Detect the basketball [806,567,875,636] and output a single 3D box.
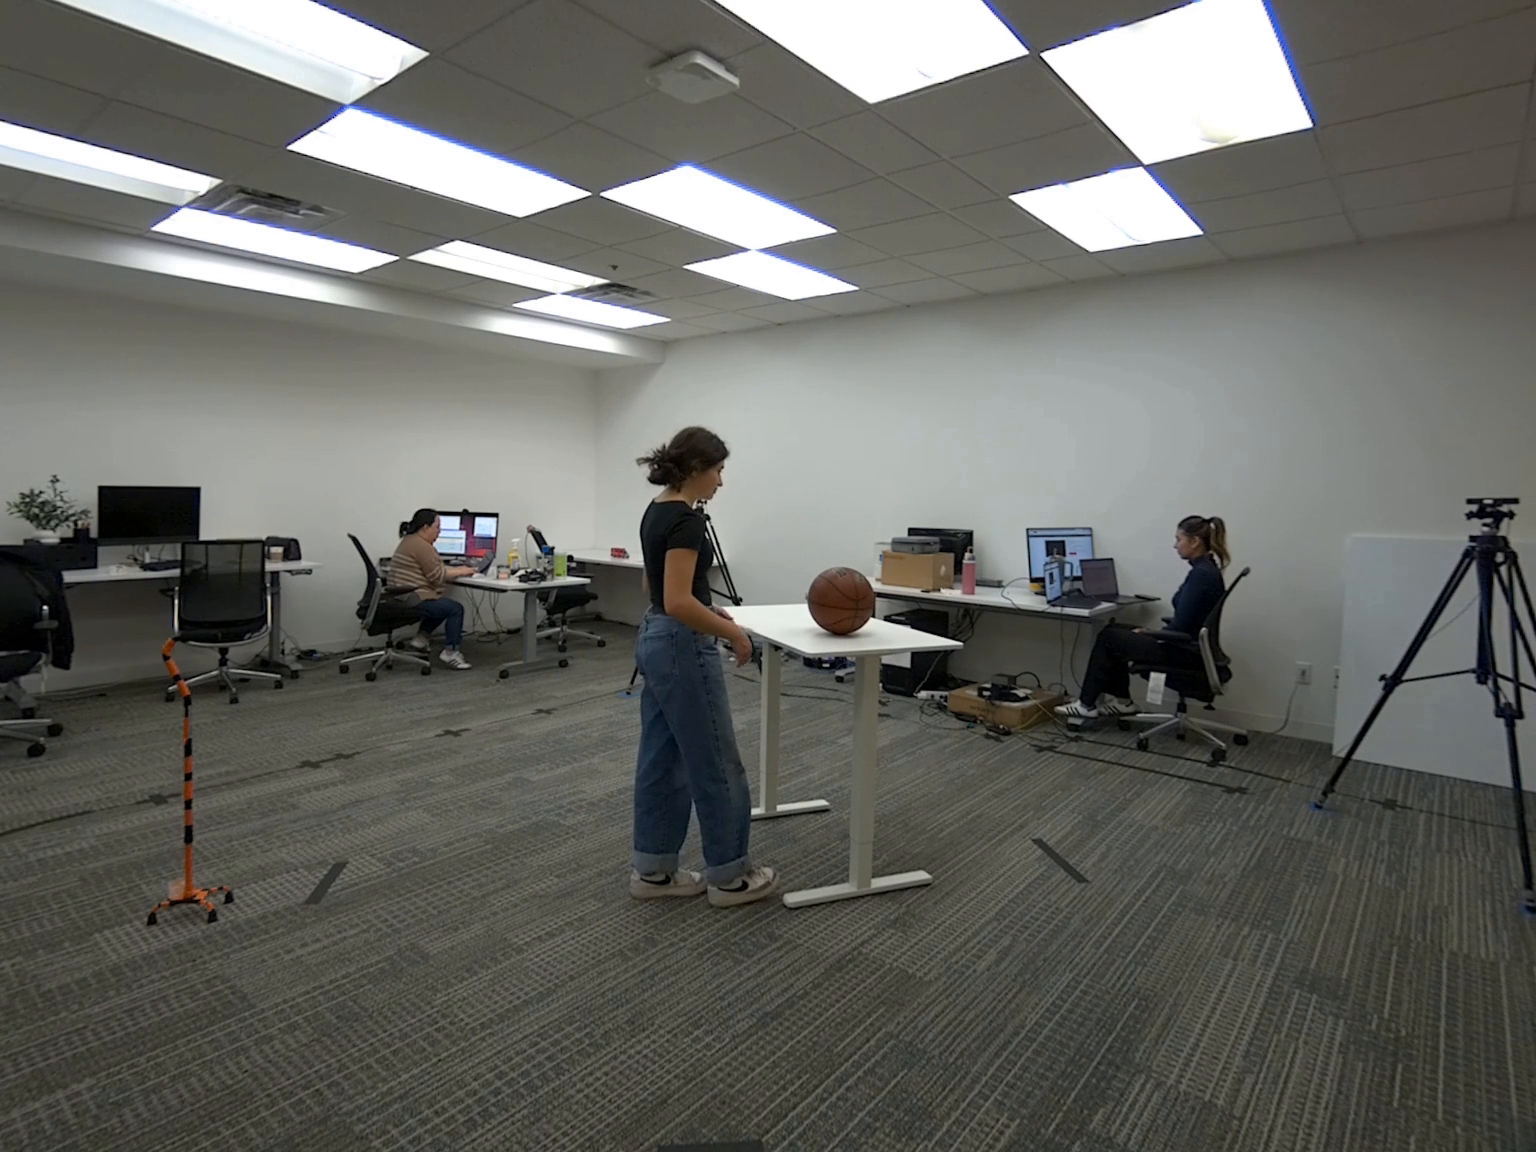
[{"bbox_3d":[0.249,0.085,3.016,0.235,0.235,0.237,1,4,-2],"label":"basketball"}]
